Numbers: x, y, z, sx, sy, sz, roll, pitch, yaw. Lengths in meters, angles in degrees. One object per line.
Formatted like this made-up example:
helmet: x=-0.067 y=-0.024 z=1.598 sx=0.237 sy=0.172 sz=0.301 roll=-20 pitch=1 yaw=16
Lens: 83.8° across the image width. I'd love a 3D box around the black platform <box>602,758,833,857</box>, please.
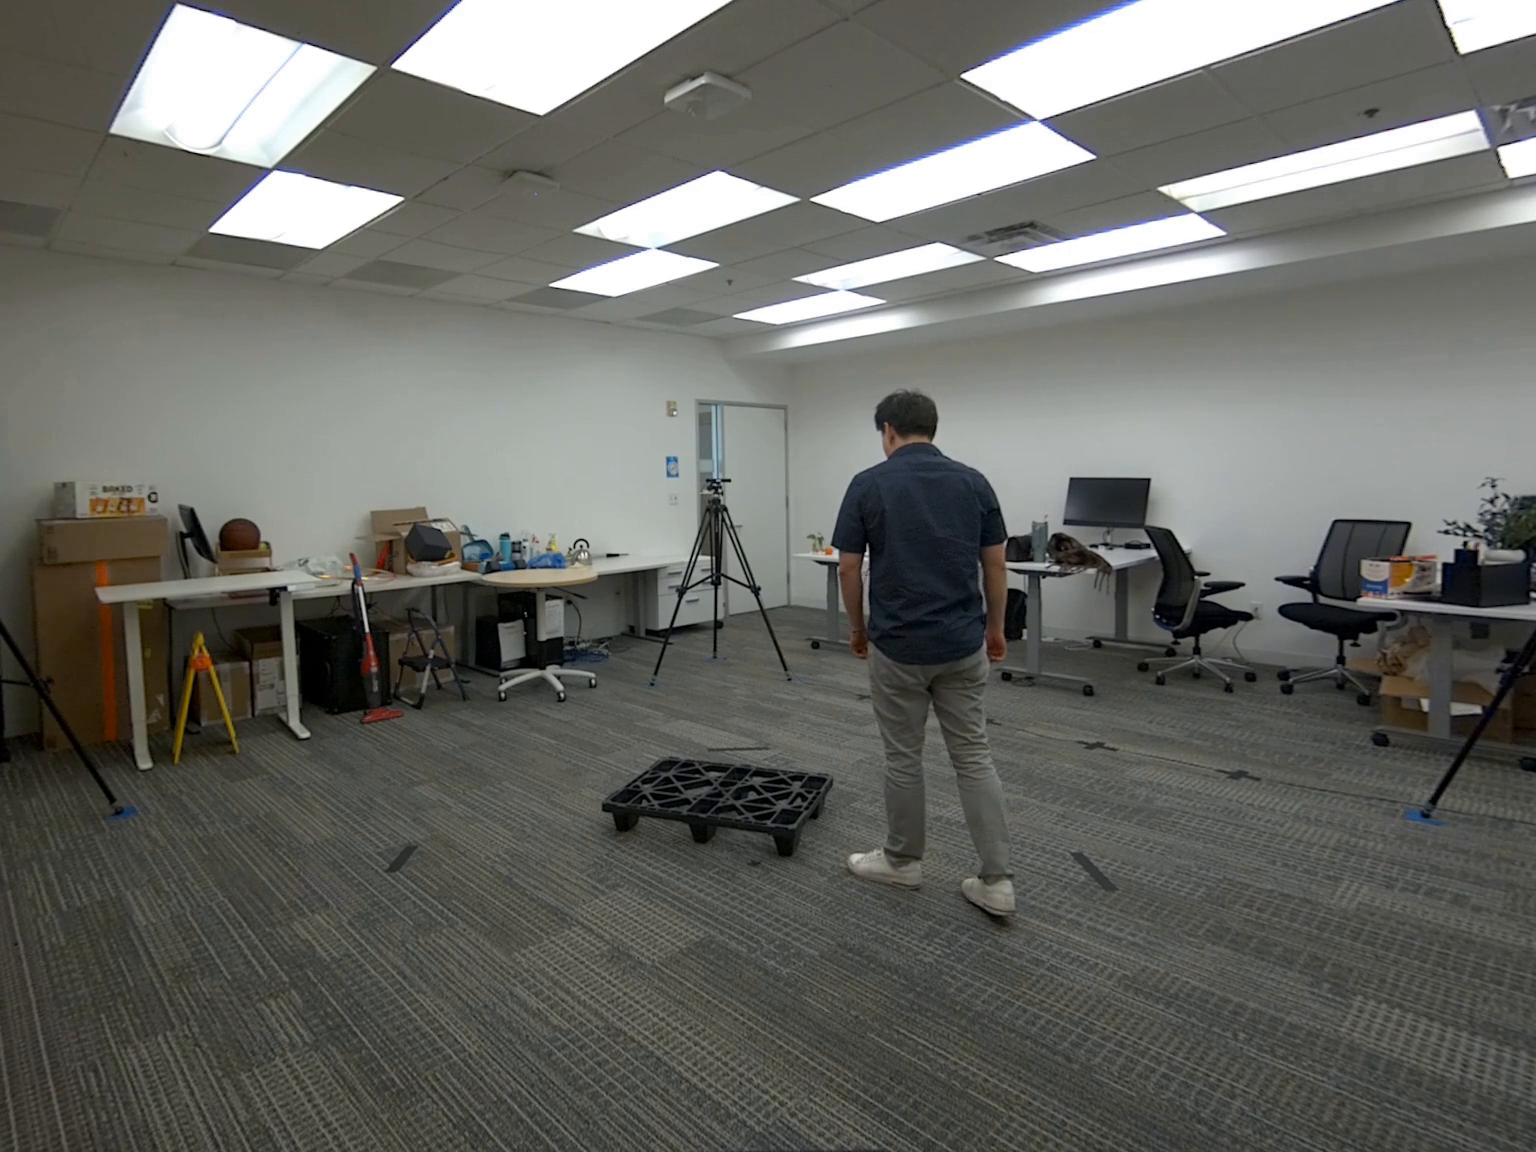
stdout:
black platform: x=-0.190 y=0.933 z=3.502 sx=0.821 sy=0.143 sz=0.596 roll=2 pitch=6 yaw=20
